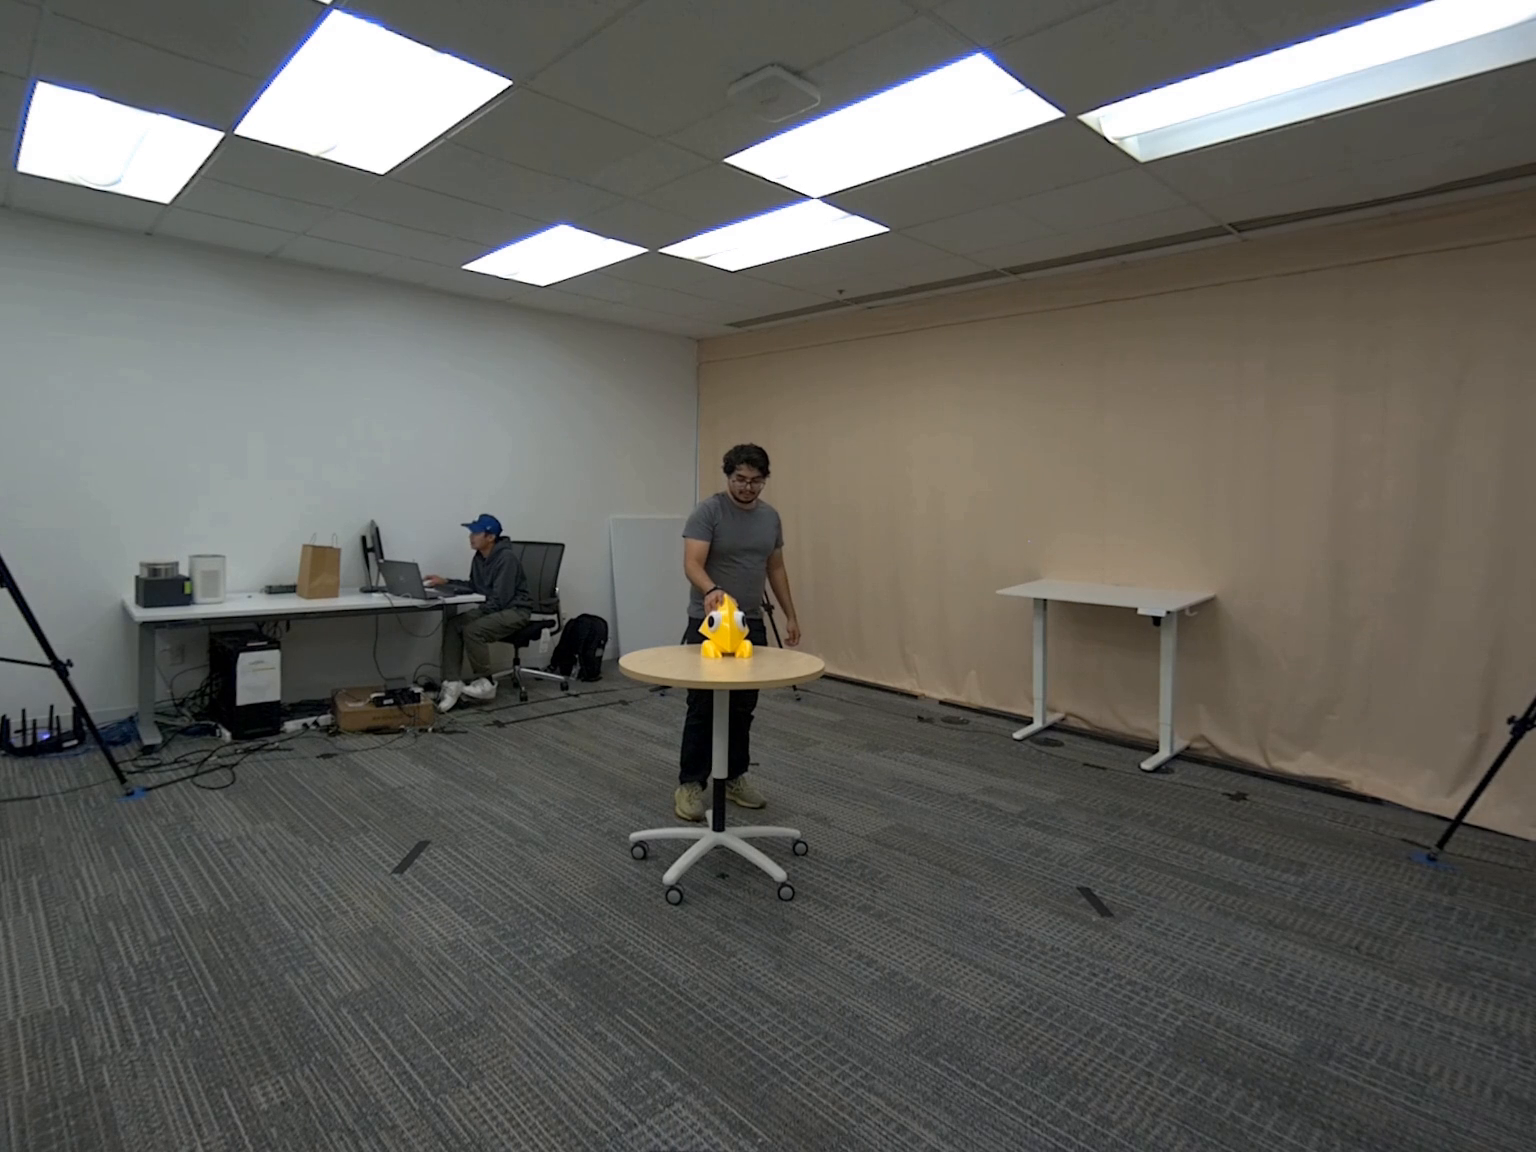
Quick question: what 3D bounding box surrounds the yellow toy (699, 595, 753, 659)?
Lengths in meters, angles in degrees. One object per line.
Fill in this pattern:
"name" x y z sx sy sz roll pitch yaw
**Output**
"yellow toy" -0.172 0.193 3.286 0.203 0.230 0.195 1 4 -8
